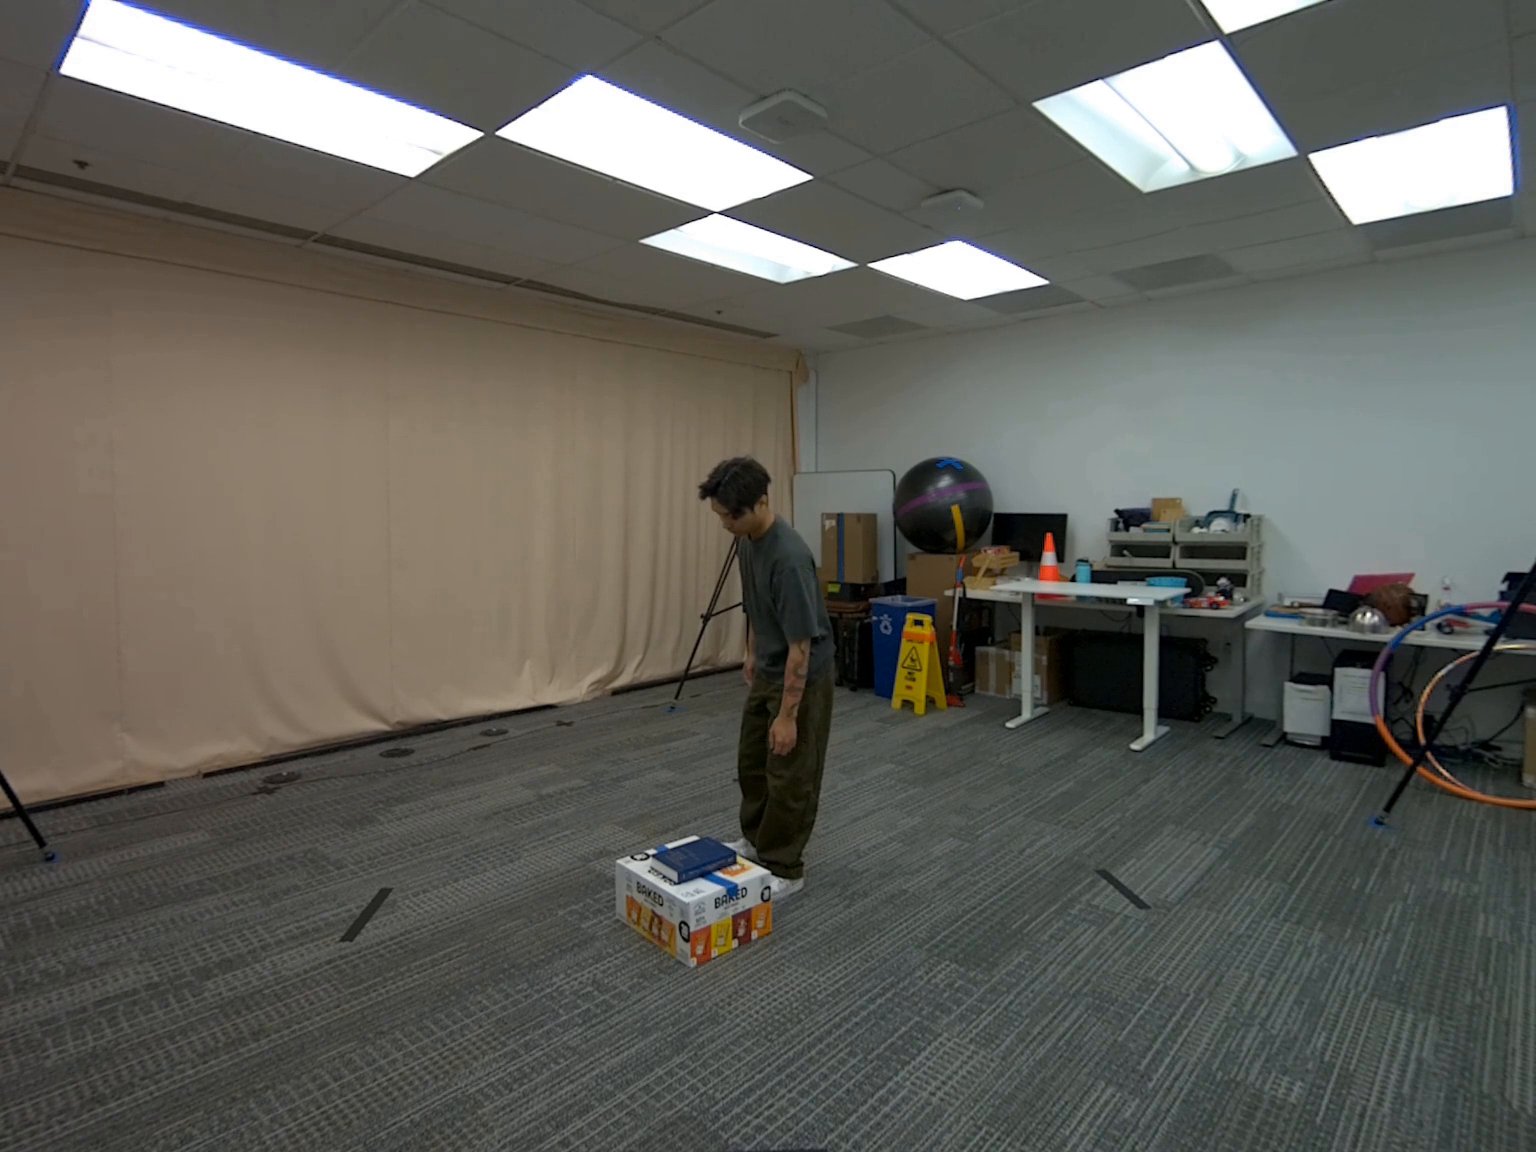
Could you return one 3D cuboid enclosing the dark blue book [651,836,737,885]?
[{"bbox_3d":[-0.251,0.948,2.794,0.238,0.045,0.169,-5,6,-40],"label":"dark blue book"}]
